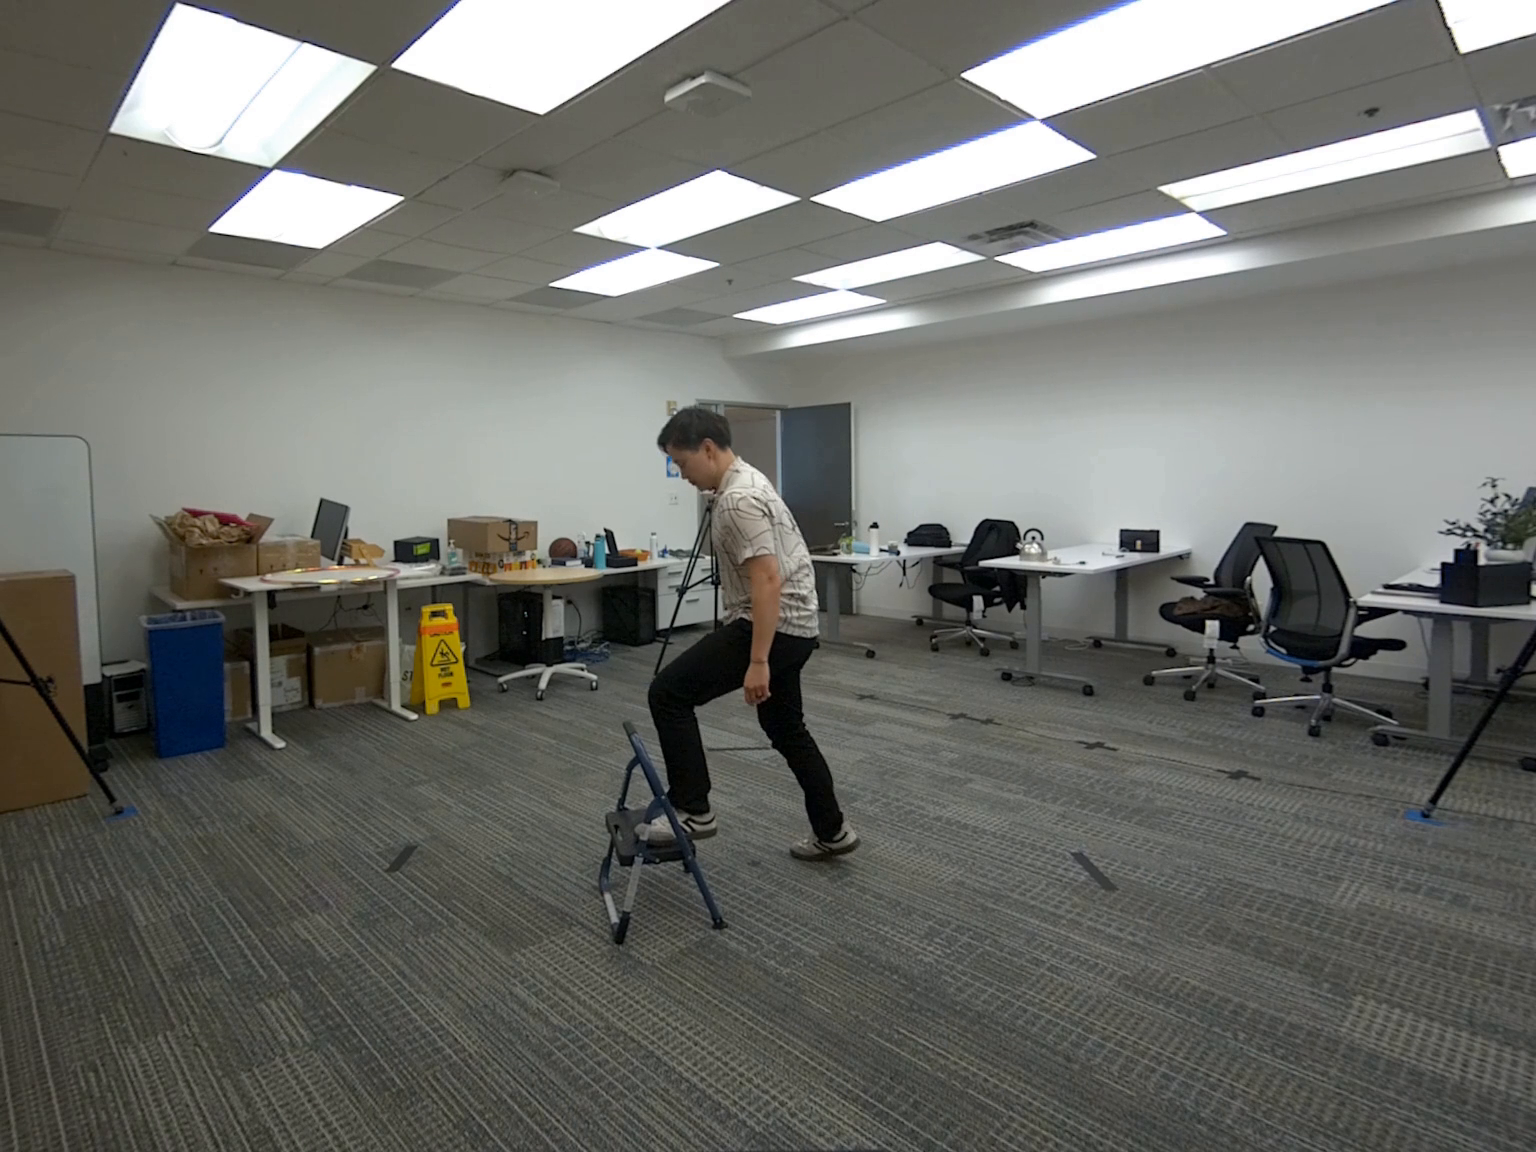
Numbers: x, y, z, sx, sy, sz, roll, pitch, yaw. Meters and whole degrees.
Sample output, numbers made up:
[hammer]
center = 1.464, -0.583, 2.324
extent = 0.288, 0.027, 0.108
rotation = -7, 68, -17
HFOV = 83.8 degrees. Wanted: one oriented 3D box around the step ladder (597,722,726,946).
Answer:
[step ladder]
center = -0.365, 0.784, 2.798
extent = 0.344, 0.604, 0.439
rotation = -3, 5, -18
